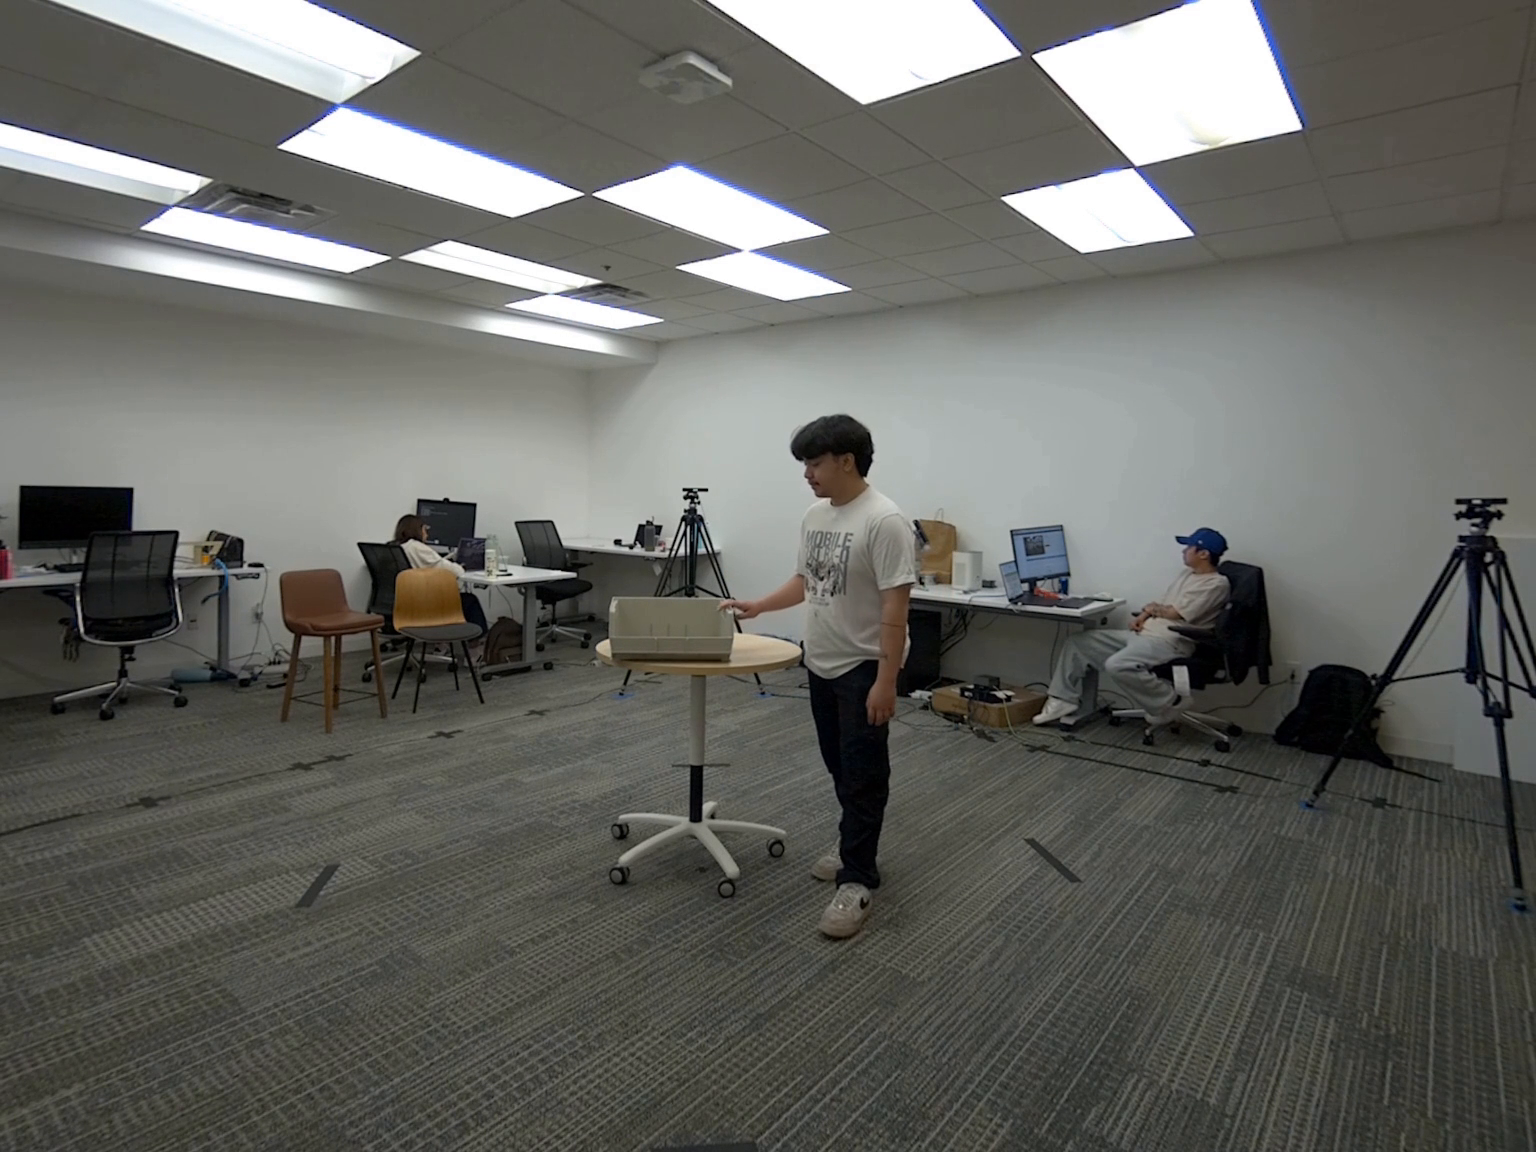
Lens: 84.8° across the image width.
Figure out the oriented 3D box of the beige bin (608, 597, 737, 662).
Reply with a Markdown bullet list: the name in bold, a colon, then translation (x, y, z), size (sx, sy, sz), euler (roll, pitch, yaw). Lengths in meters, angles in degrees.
- **beige bin**: translation (-0.356, 0.191, 3.019), size (0.419, 0.188, 0.382), euler (0, 5, -8)
